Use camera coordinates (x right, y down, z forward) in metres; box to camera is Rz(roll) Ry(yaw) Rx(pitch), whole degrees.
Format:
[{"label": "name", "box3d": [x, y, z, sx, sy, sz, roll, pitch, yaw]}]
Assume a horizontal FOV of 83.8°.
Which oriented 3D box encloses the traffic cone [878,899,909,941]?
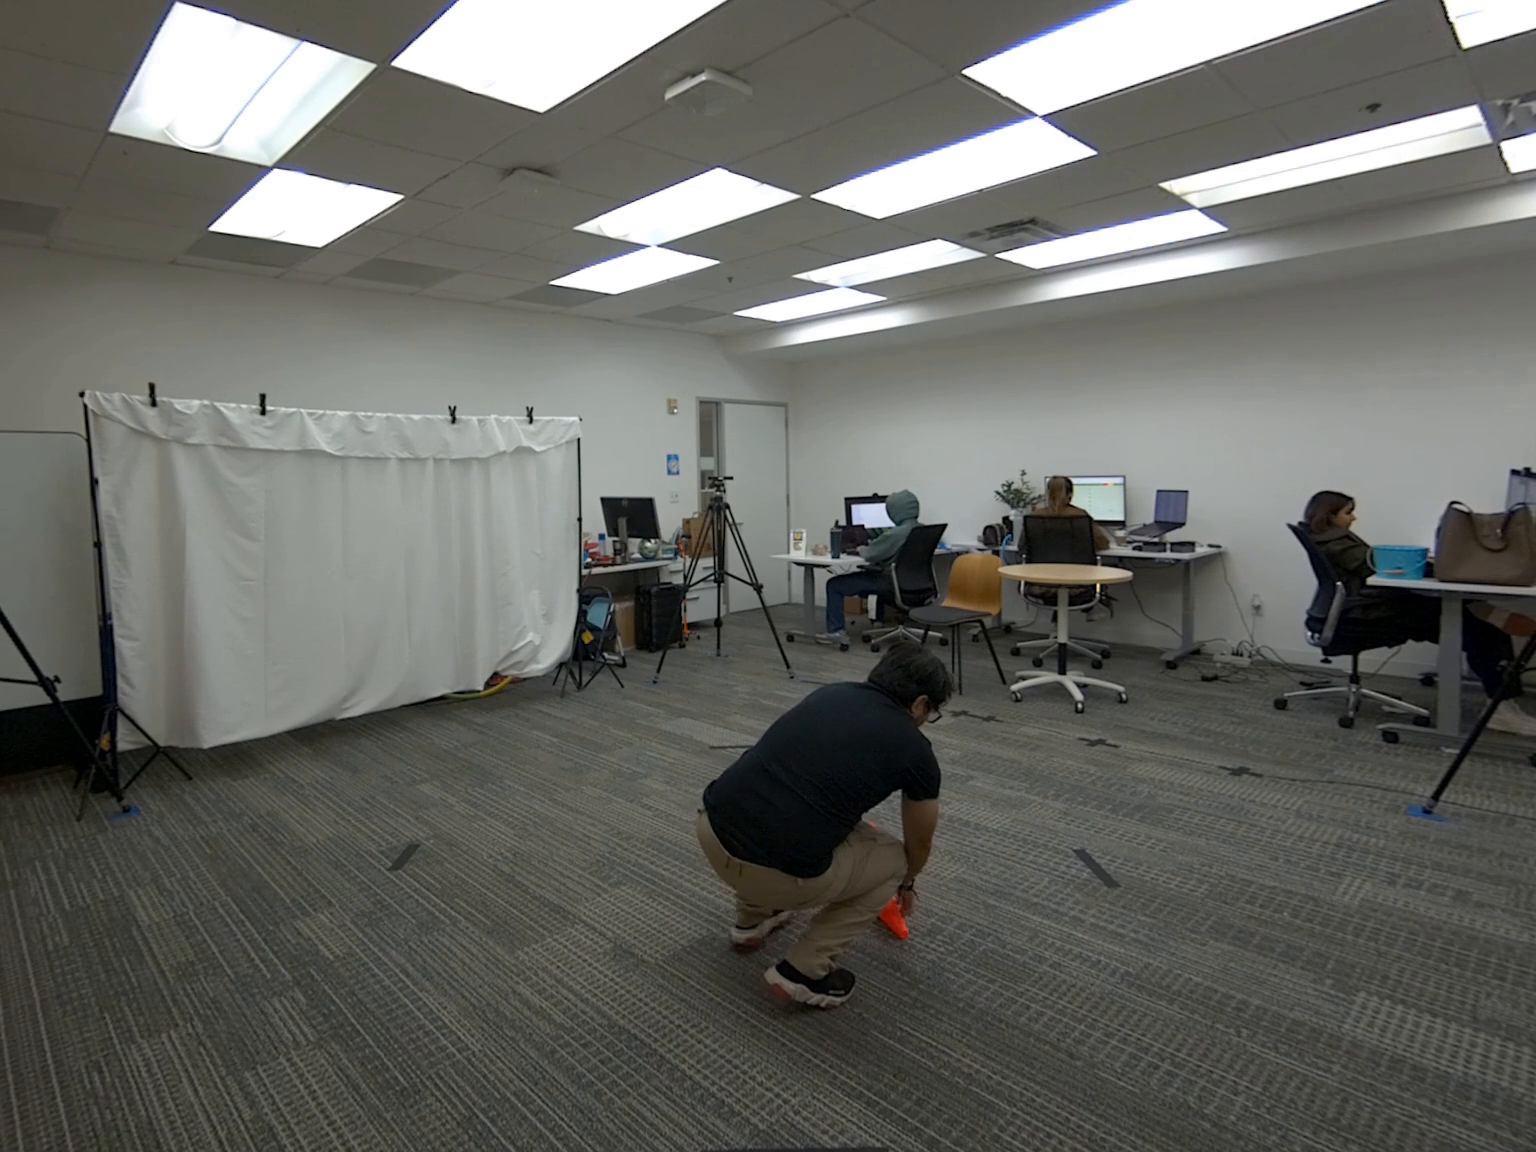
[{"label": "traffic cone", "box3d": [0.346, 1.014, 2.732, 0.202, 0.201, 0.394, -16, 20, -11]}]
